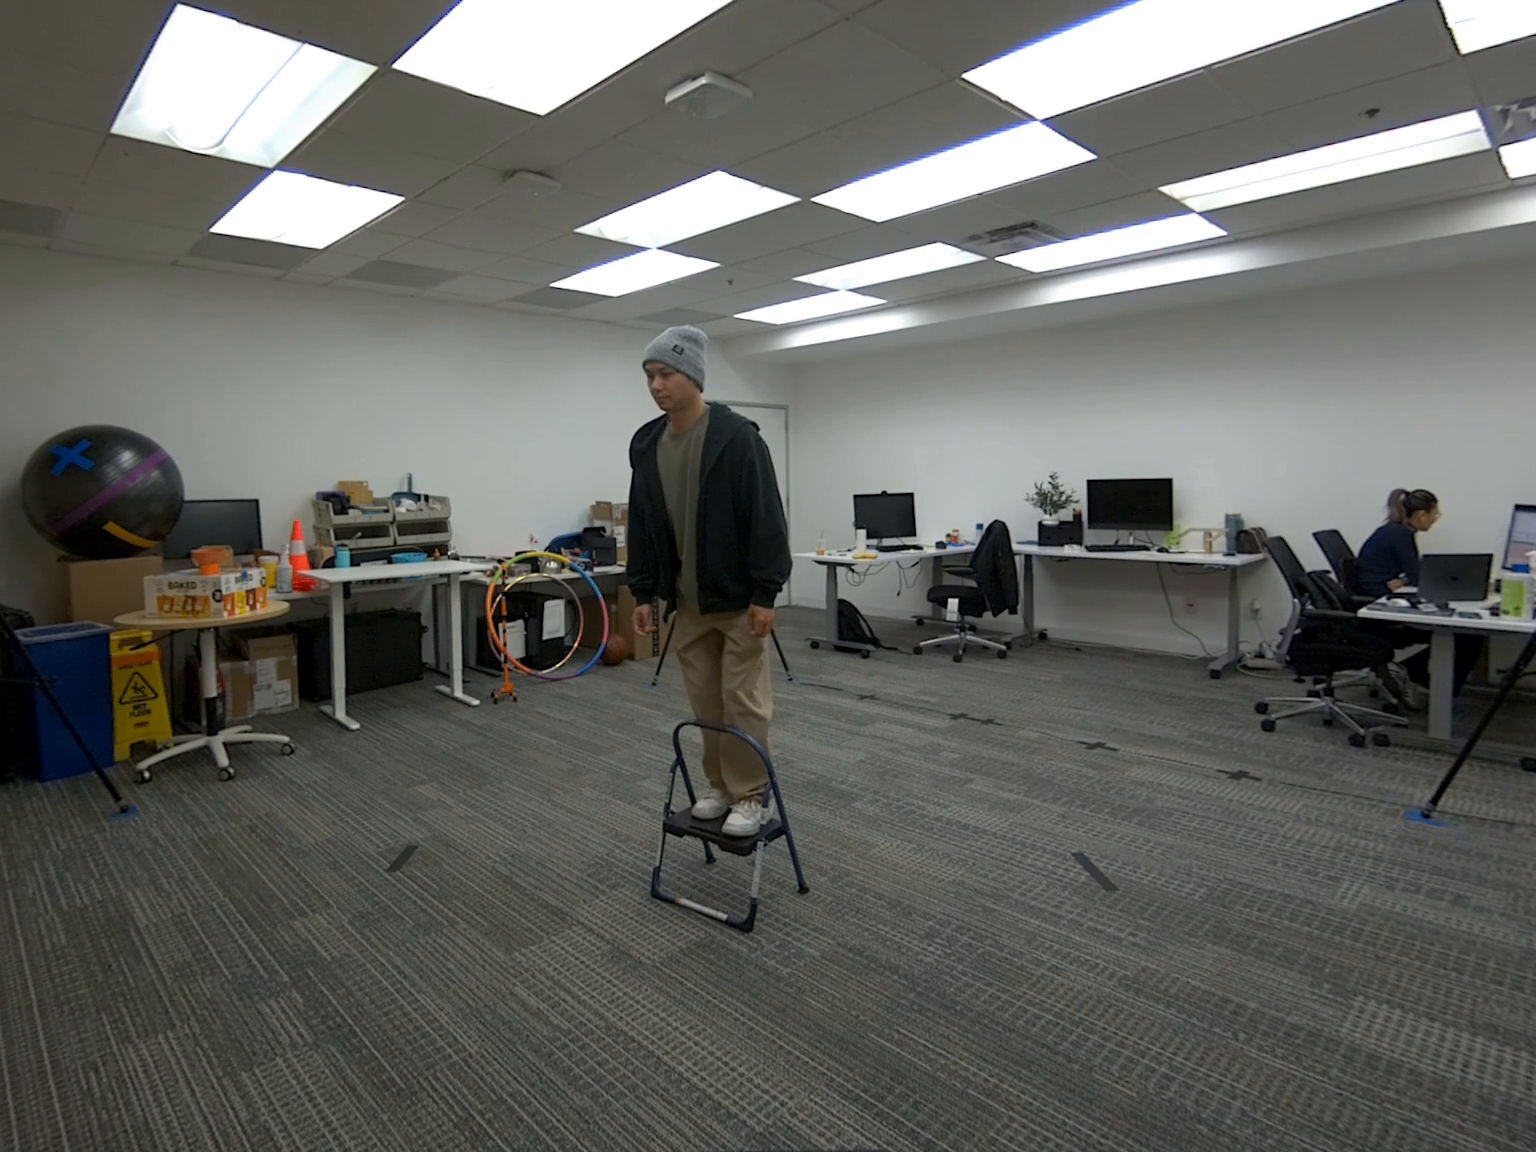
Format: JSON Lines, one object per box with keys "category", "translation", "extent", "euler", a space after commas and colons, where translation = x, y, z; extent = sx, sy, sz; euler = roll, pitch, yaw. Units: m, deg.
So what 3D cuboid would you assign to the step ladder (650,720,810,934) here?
{"category": "step ladder", "translation": [-0.137, 0.774, 2.864], "extent": [0.443, 0.603, 0.341], "euler": [2, 6, 35]}
